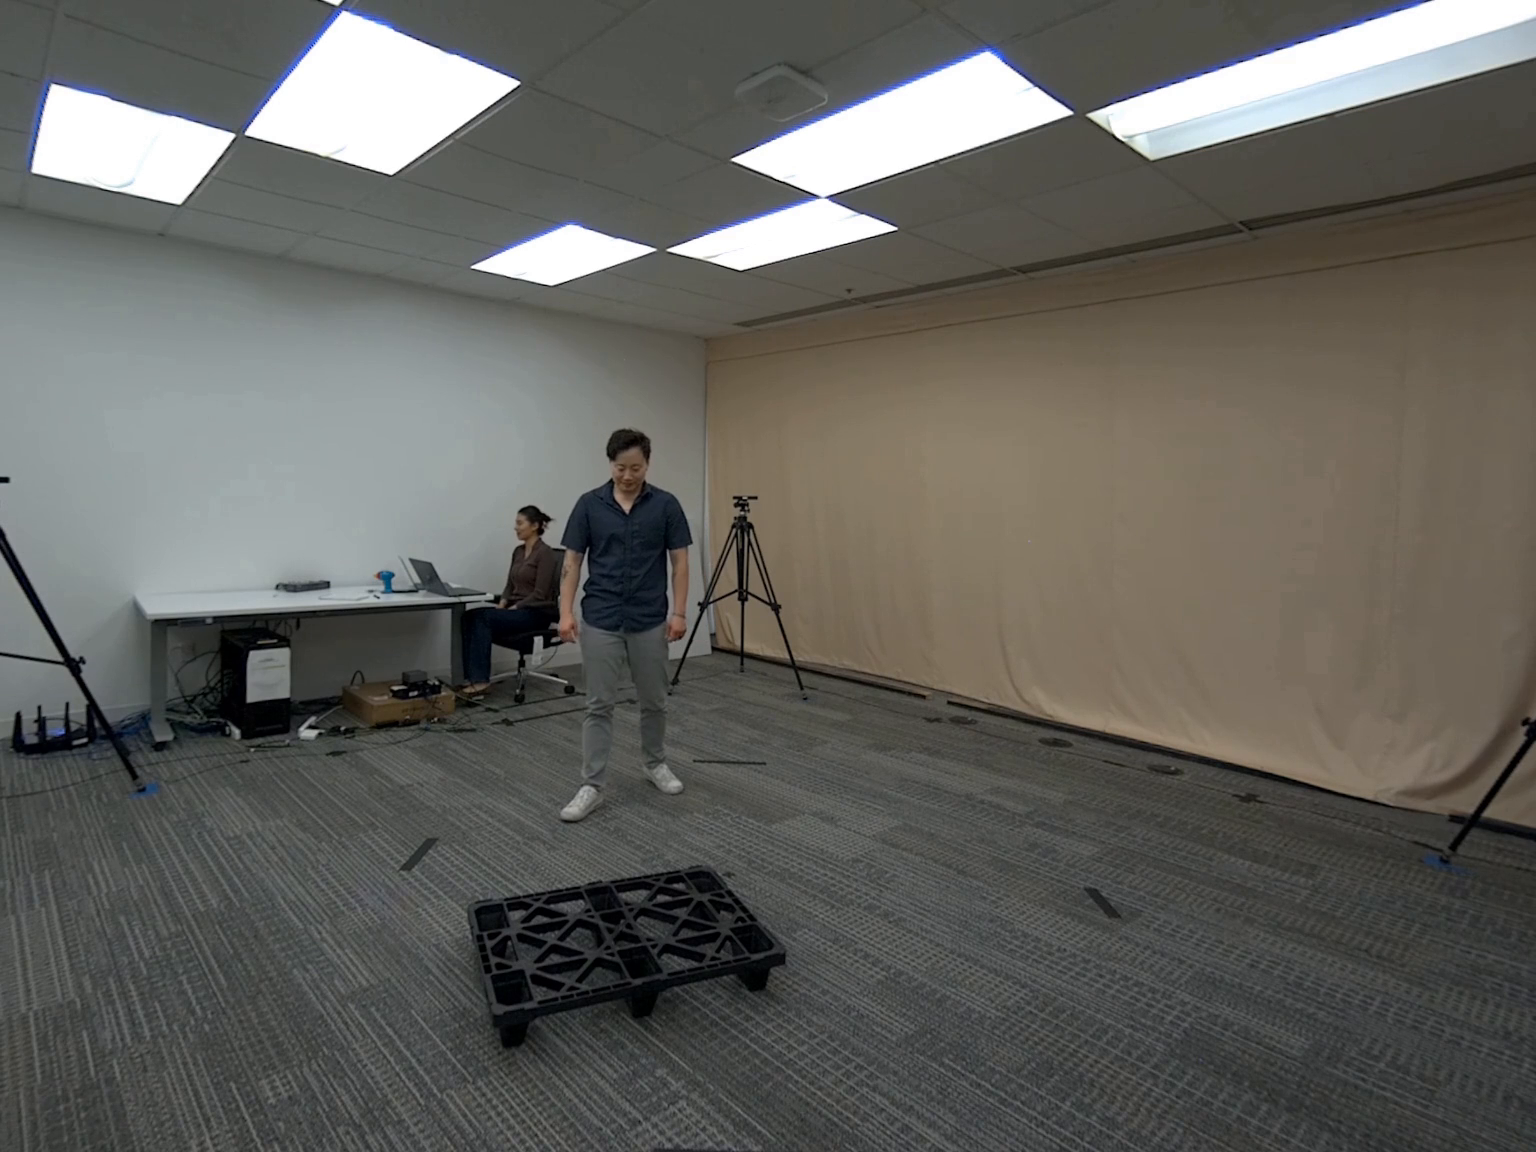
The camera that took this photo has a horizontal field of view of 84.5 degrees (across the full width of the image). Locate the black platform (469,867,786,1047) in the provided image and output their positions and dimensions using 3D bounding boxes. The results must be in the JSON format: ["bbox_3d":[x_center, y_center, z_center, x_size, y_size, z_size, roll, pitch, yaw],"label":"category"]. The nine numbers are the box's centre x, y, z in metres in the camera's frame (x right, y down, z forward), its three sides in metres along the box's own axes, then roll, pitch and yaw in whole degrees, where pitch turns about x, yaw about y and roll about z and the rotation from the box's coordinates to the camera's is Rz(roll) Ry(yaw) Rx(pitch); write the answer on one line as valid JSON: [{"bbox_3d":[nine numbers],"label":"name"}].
[{"bbox_3d":[-0.431,1.092,2.450,0.792,0.143,0.618,-1,7,-24],"label":"black platform"}]
